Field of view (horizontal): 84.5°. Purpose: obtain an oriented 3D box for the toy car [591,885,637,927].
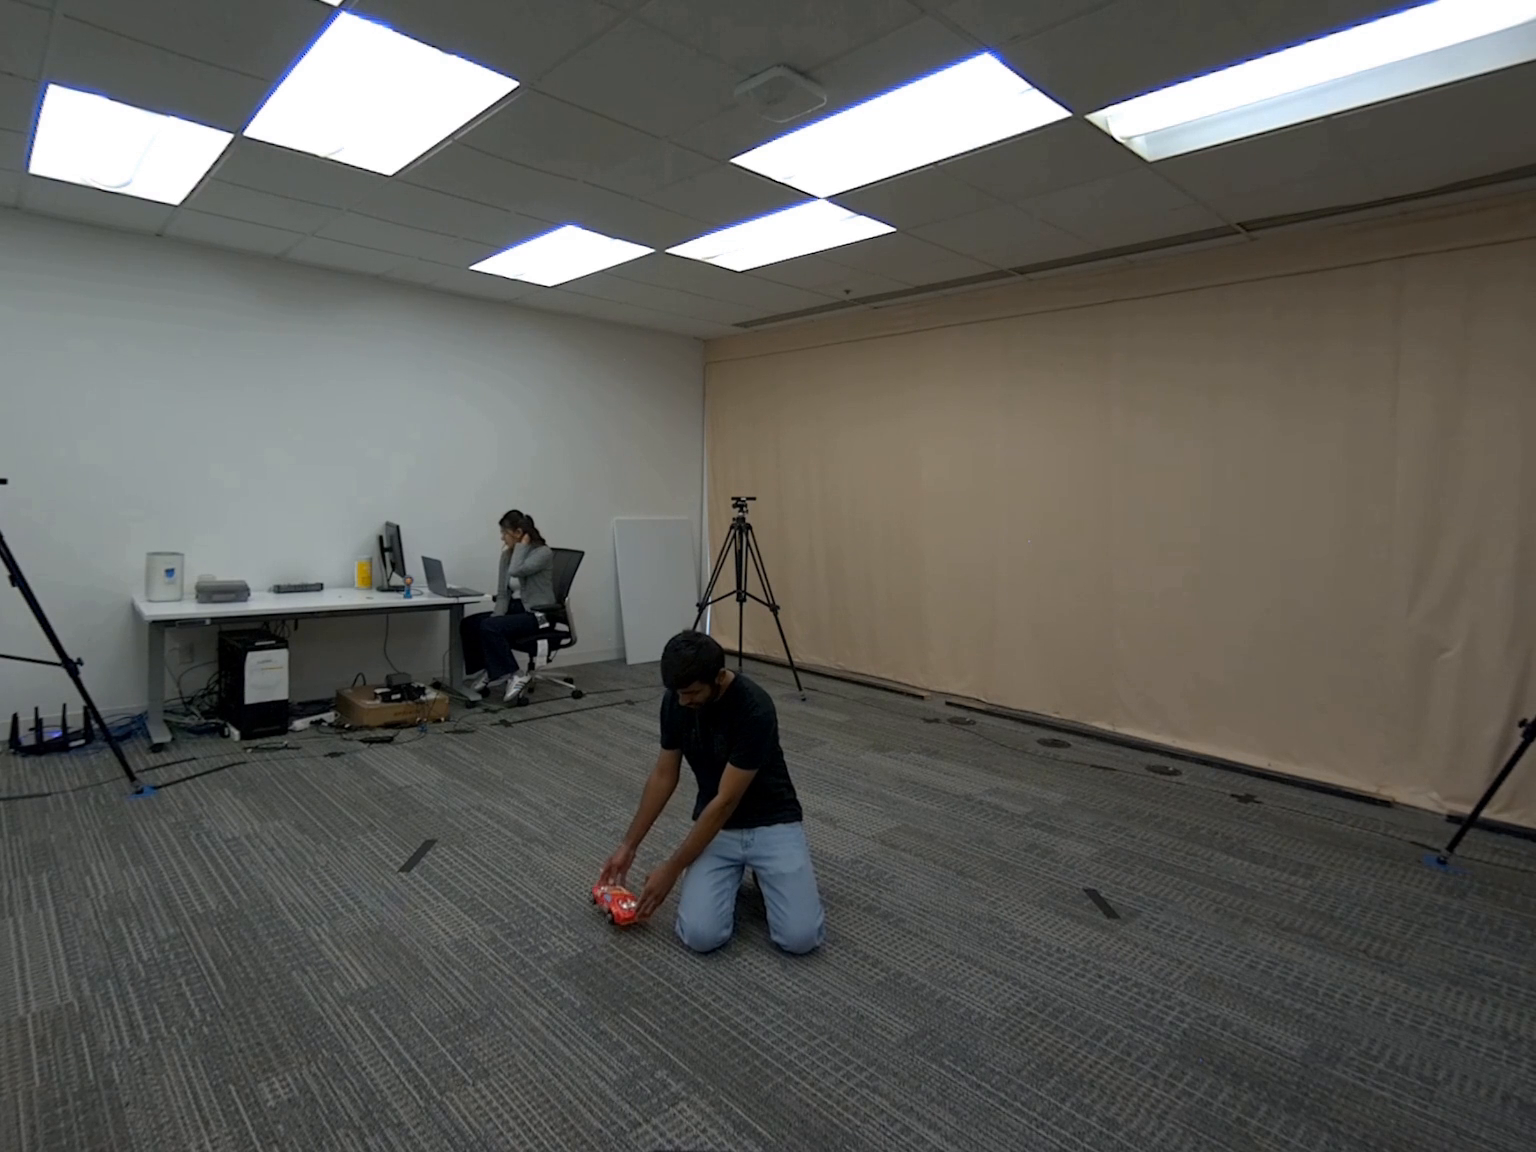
[{"bbox_3d":[-0.490,1.062,2.738,0.127,0.083,0.259,1,-7,-35],"label":"toy car"}]
